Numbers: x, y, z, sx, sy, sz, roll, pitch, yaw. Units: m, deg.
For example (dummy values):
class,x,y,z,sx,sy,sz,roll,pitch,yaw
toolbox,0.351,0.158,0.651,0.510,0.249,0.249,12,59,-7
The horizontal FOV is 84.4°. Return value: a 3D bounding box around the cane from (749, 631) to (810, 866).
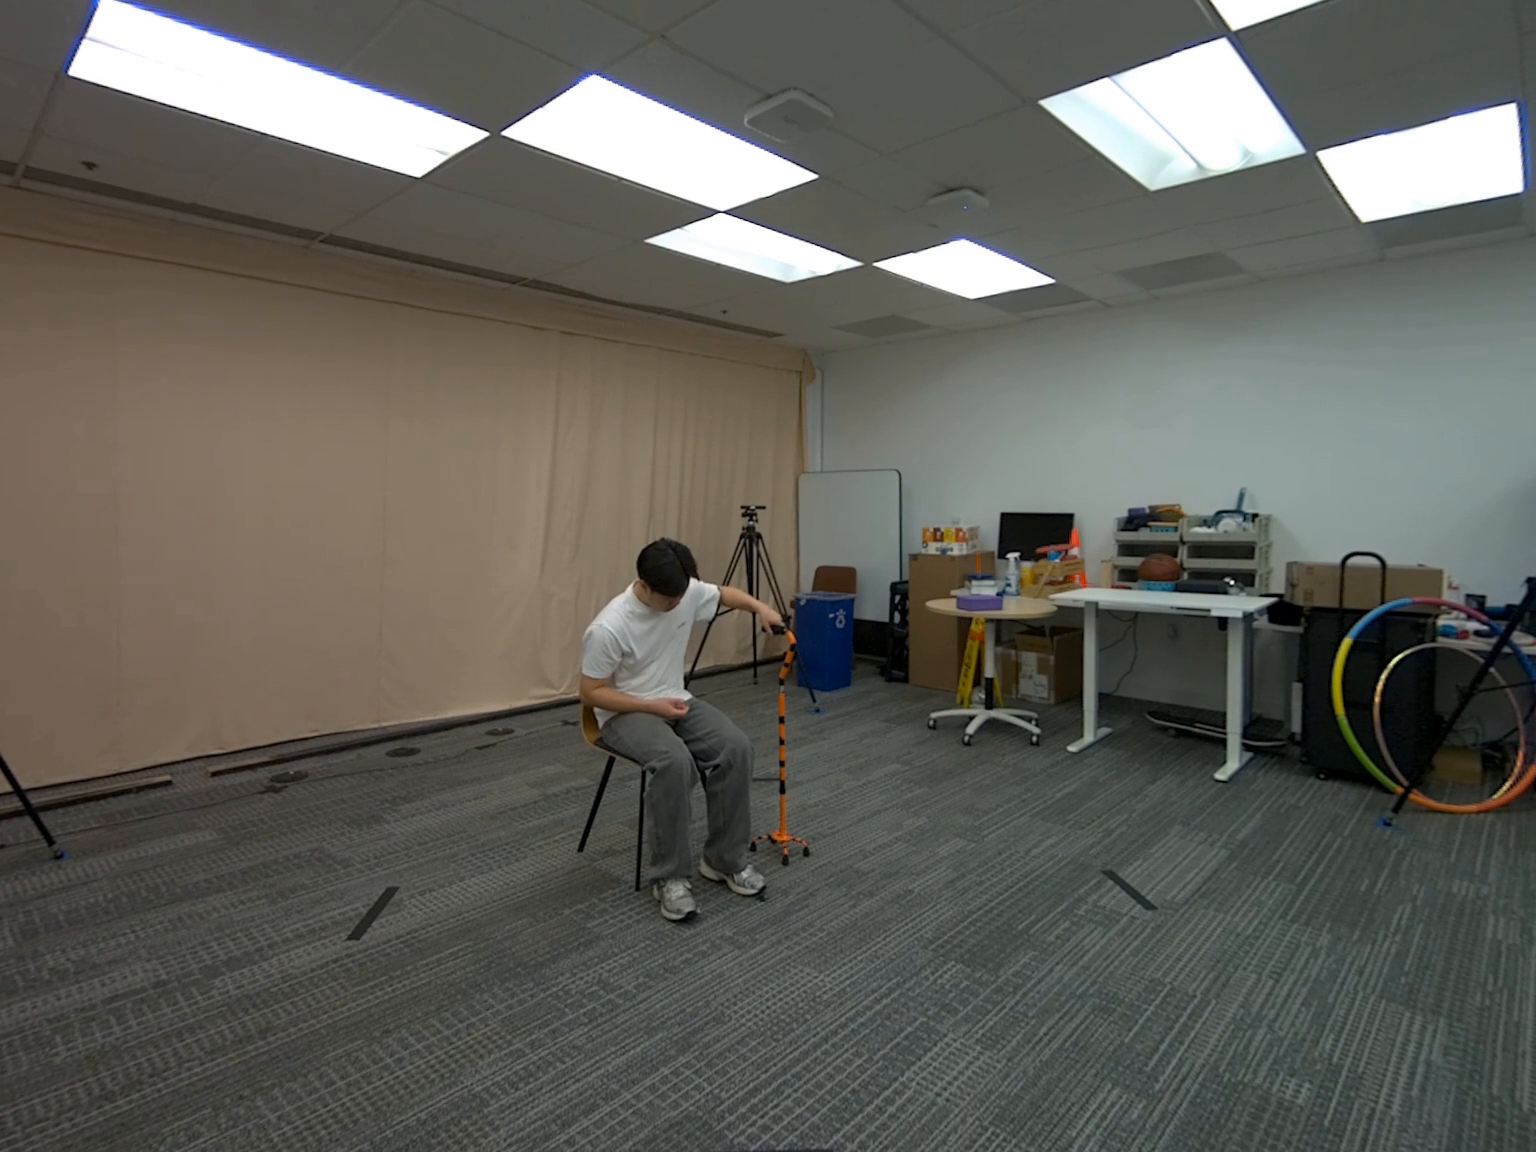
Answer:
class,x,y,z,sx,sy,sz,roll,pitch,yaw
cane,0.064,0.656,3.345,0.147,0.906,0.213,-2,4,-44
